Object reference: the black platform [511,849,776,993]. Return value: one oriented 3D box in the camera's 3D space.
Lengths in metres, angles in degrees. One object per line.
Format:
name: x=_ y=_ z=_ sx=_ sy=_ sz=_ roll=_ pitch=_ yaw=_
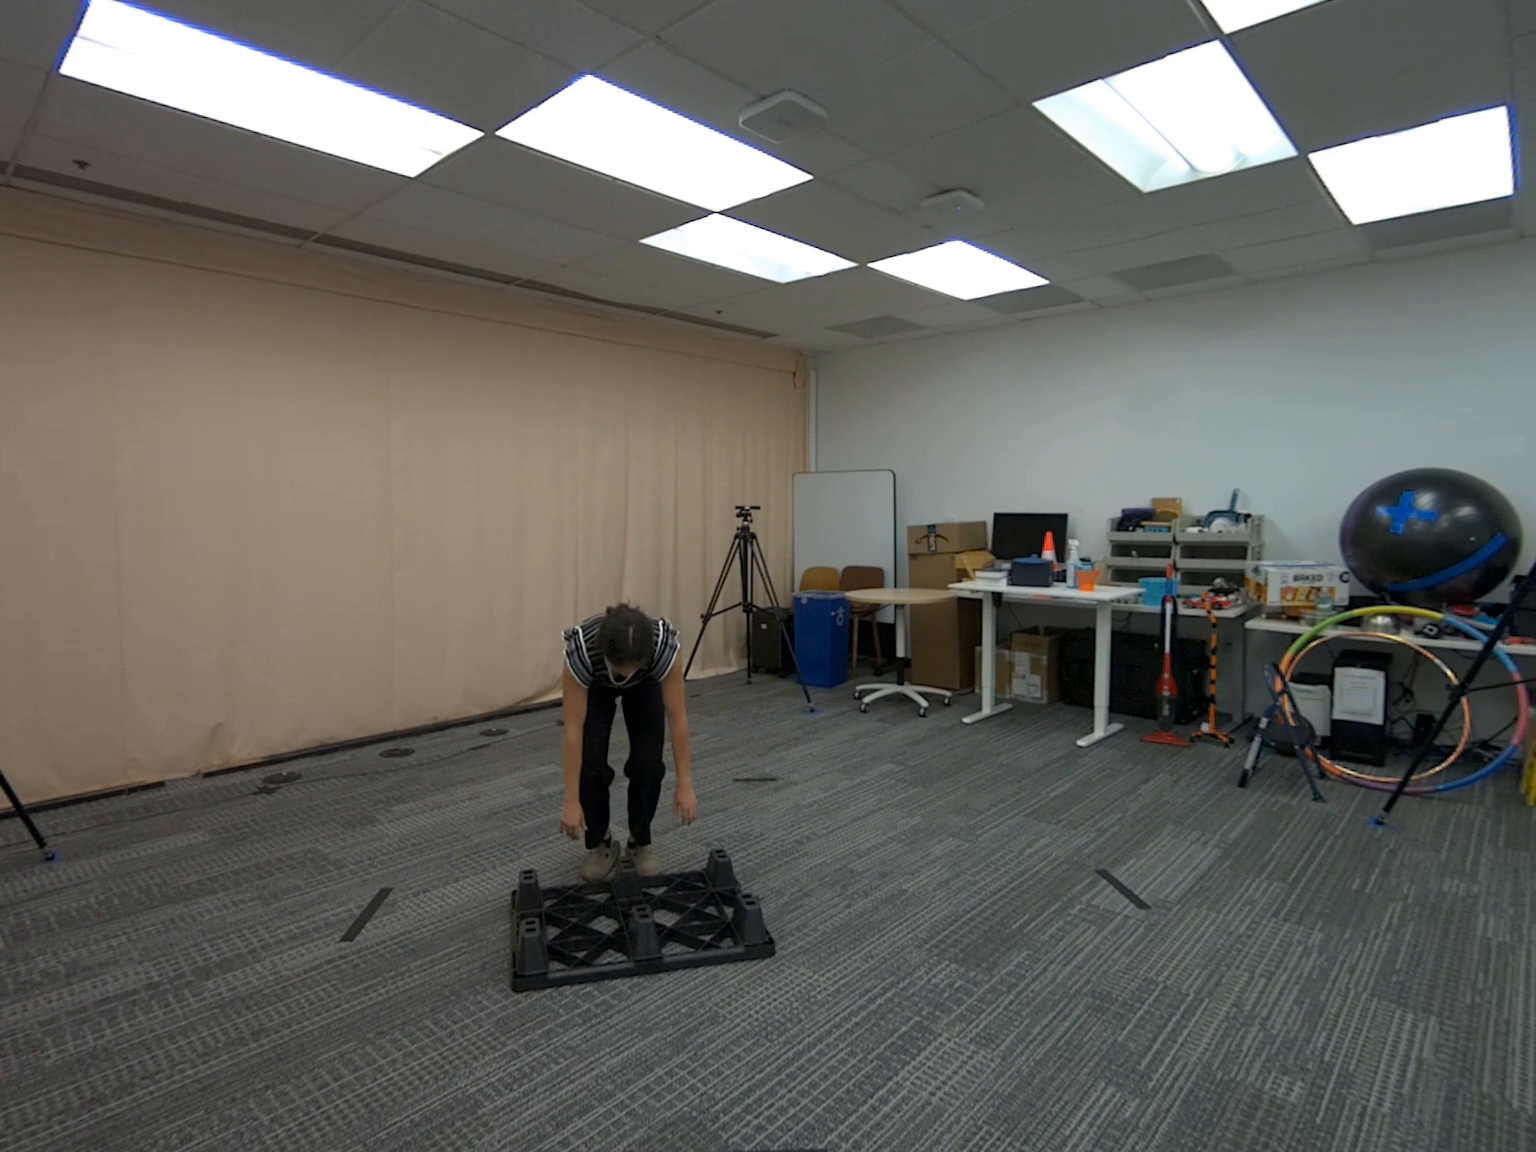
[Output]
black platform: x=-0.440 y=1.097 z=2.783 sx=0.793 sy=0.143 sz=0.616 roll=-2 pitch=4 yaw=-15
